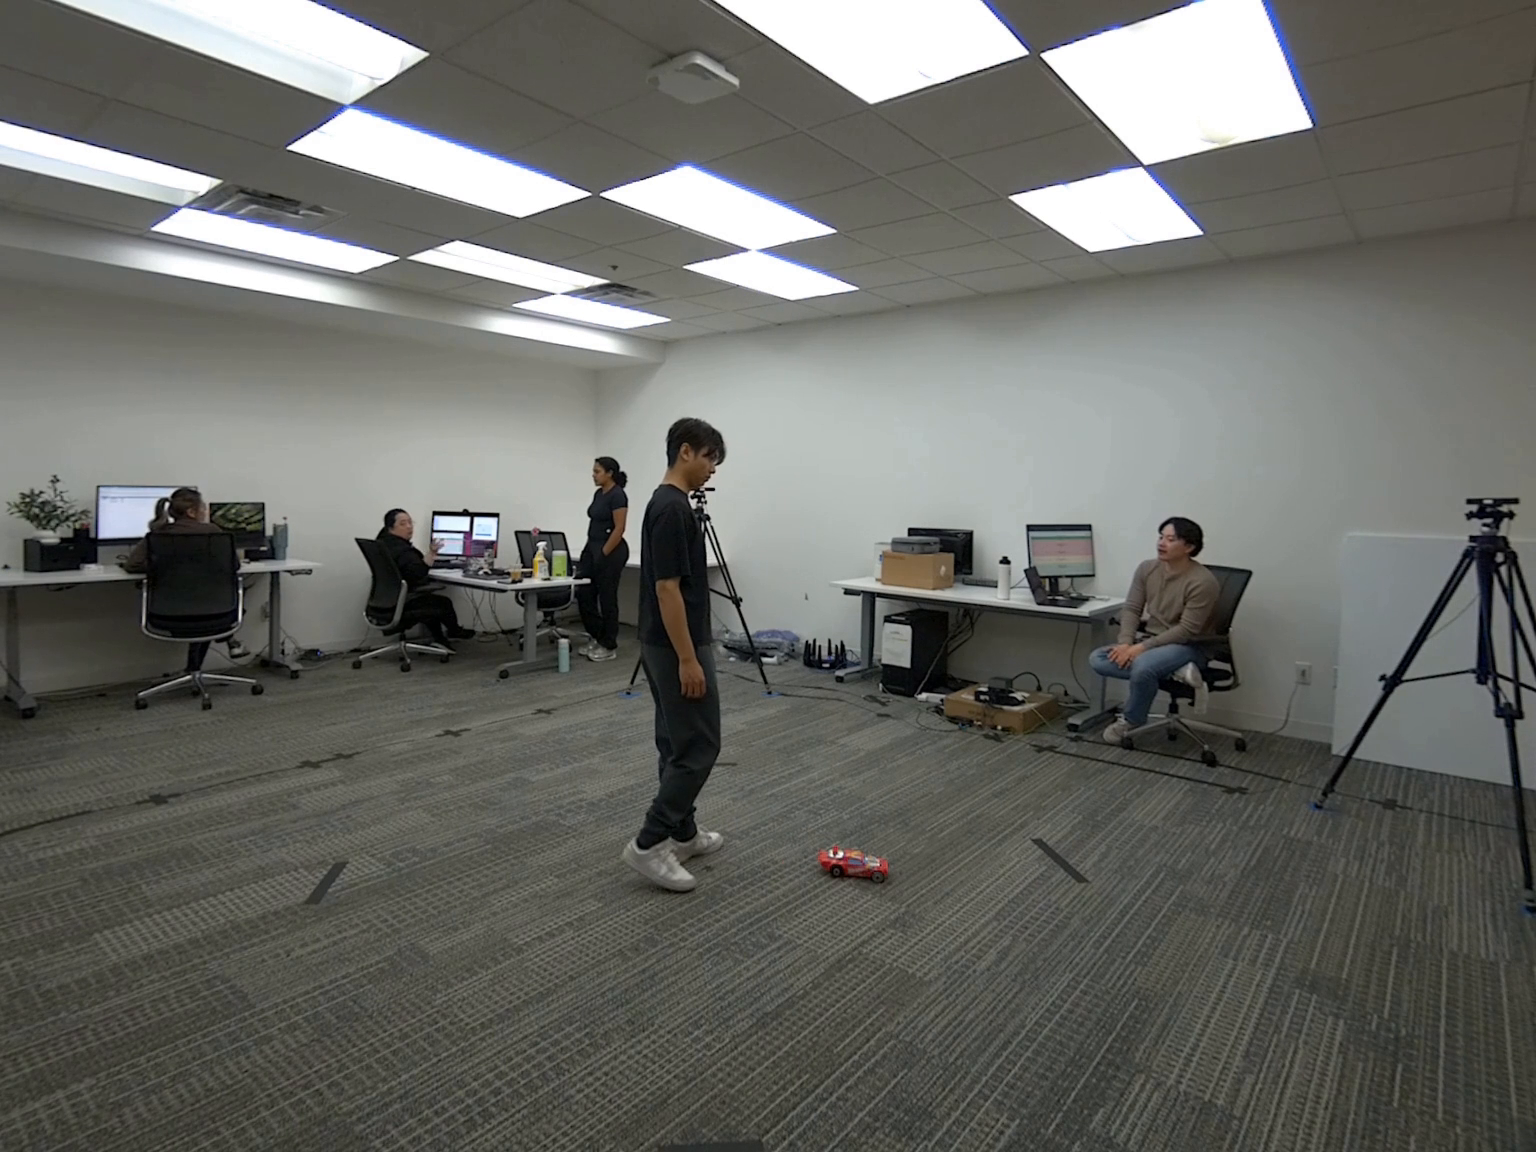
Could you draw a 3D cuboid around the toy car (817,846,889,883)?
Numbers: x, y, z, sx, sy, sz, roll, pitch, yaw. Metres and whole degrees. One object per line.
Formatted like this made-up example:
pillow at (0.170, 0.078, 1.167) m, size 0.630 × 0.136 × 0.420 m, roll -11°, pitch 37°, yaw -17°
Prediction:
toy car at (0.302, 1.050, 3.102) m, size 0.258 × 0.083 × 0.129 m, roll 13°, pitch 6°, yaw 12°
